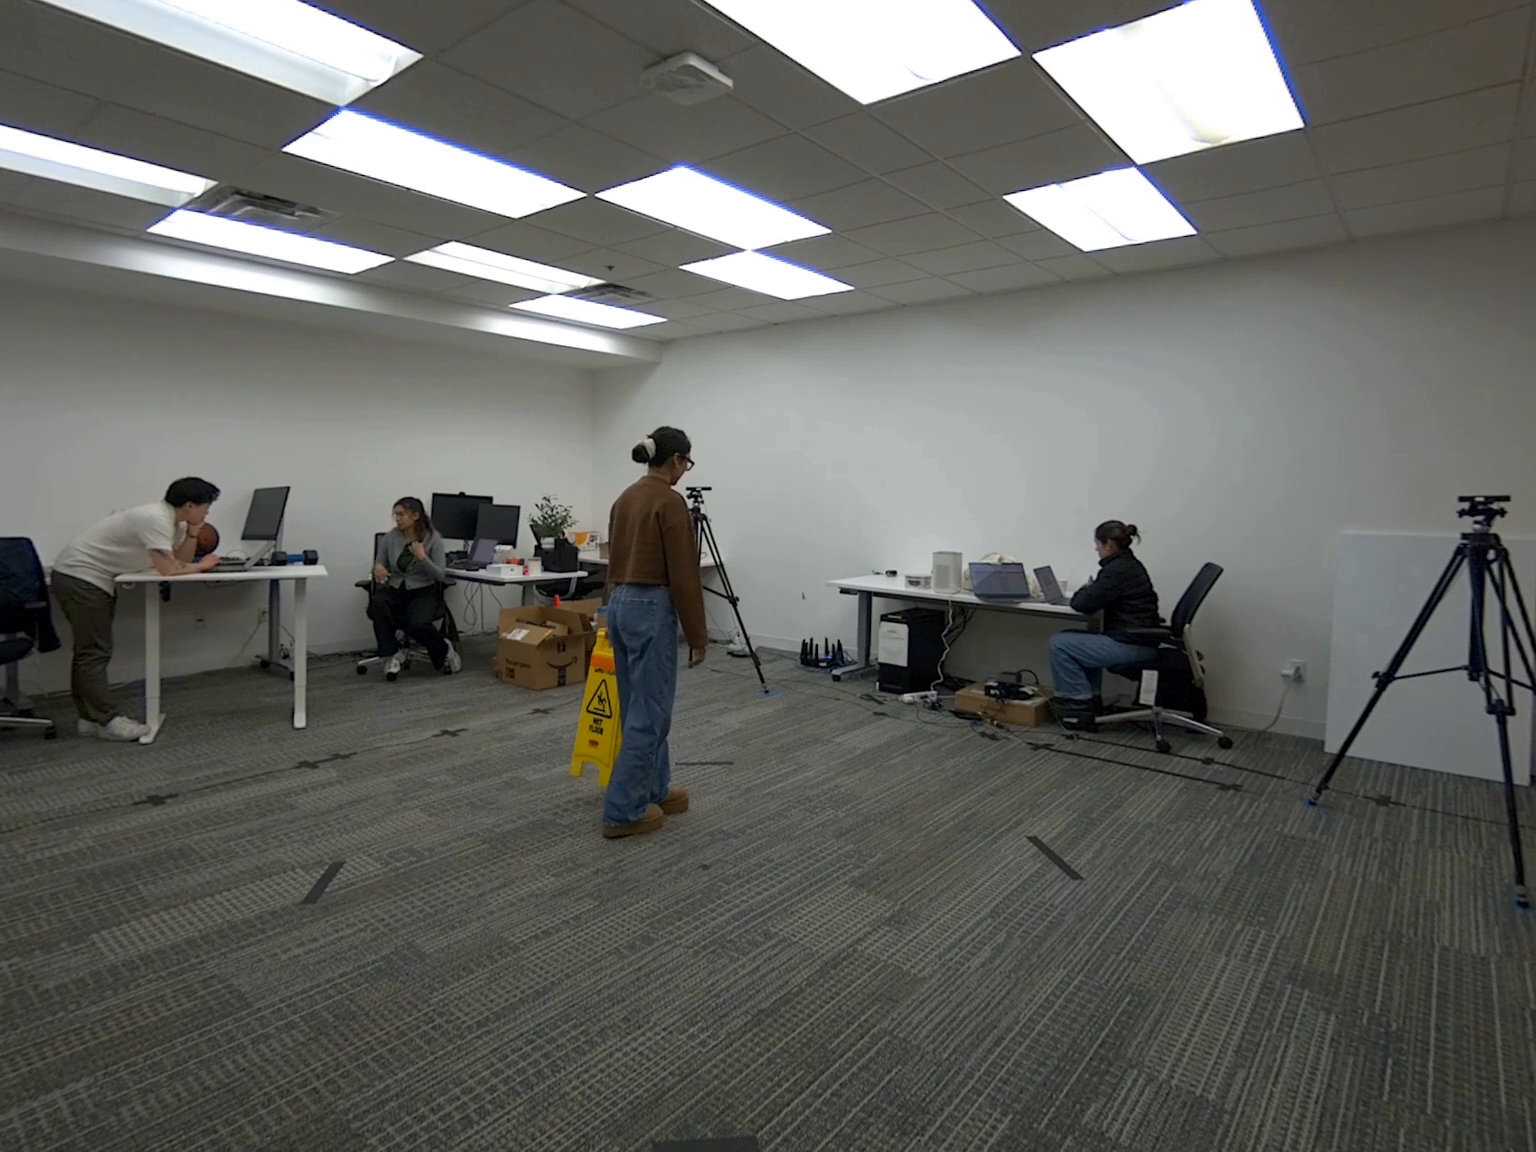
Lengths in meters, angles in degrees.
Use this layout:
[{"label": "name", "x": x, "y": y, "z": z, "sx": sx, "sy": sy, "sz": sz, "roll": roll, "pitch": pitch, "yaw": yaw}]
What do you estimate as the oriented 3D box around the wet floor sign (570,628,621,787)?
[{"label": "wet floor sign", "x": -0.713, "y": 0.565, "z": 3.810, "sx": 0.291, "sy": 0.645, "sz": 0.281, "roll": 2, "pitch": 2, "yaw": 39}]
